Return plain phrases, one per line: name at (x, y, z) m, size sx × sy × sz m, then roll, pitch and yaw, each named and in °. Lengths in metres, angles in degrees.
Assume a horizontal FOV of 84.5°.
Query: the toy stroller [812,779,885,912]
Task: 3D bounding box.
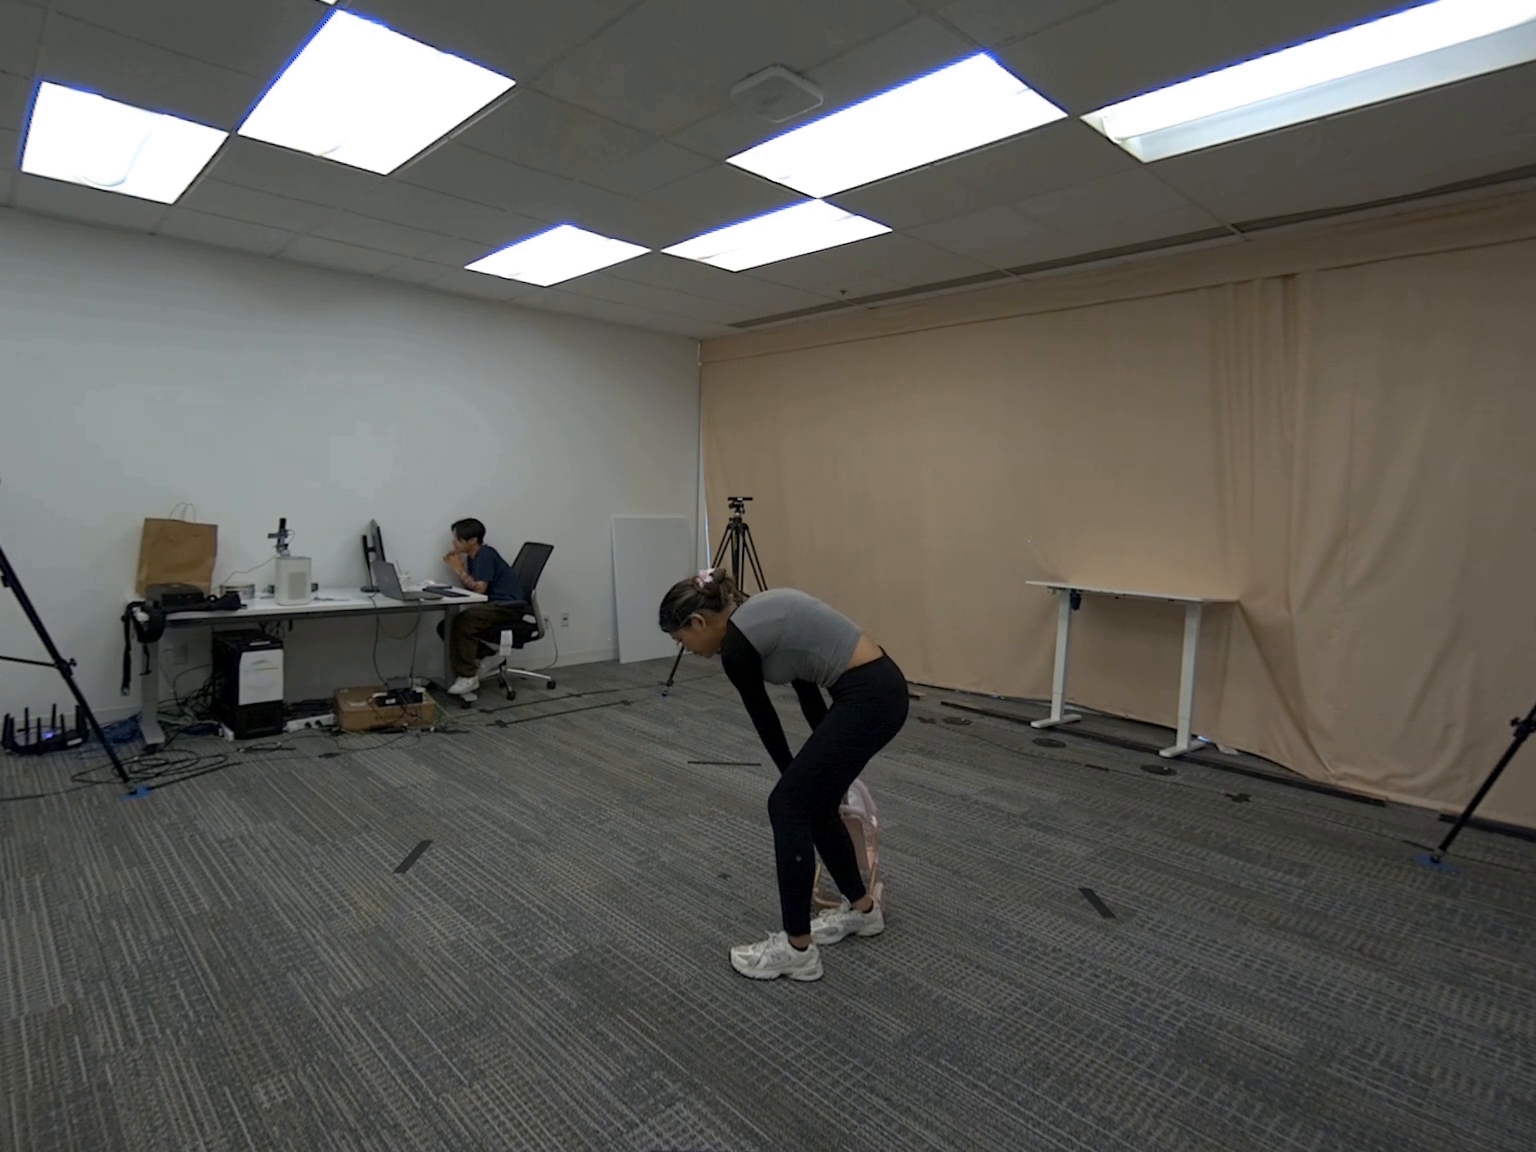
toy stroller at (0.258, 0.909, 2.896) m, size 0.286 × 0.527 × 0.341 m, roll 2°, pitch 21°, yaw 20°
